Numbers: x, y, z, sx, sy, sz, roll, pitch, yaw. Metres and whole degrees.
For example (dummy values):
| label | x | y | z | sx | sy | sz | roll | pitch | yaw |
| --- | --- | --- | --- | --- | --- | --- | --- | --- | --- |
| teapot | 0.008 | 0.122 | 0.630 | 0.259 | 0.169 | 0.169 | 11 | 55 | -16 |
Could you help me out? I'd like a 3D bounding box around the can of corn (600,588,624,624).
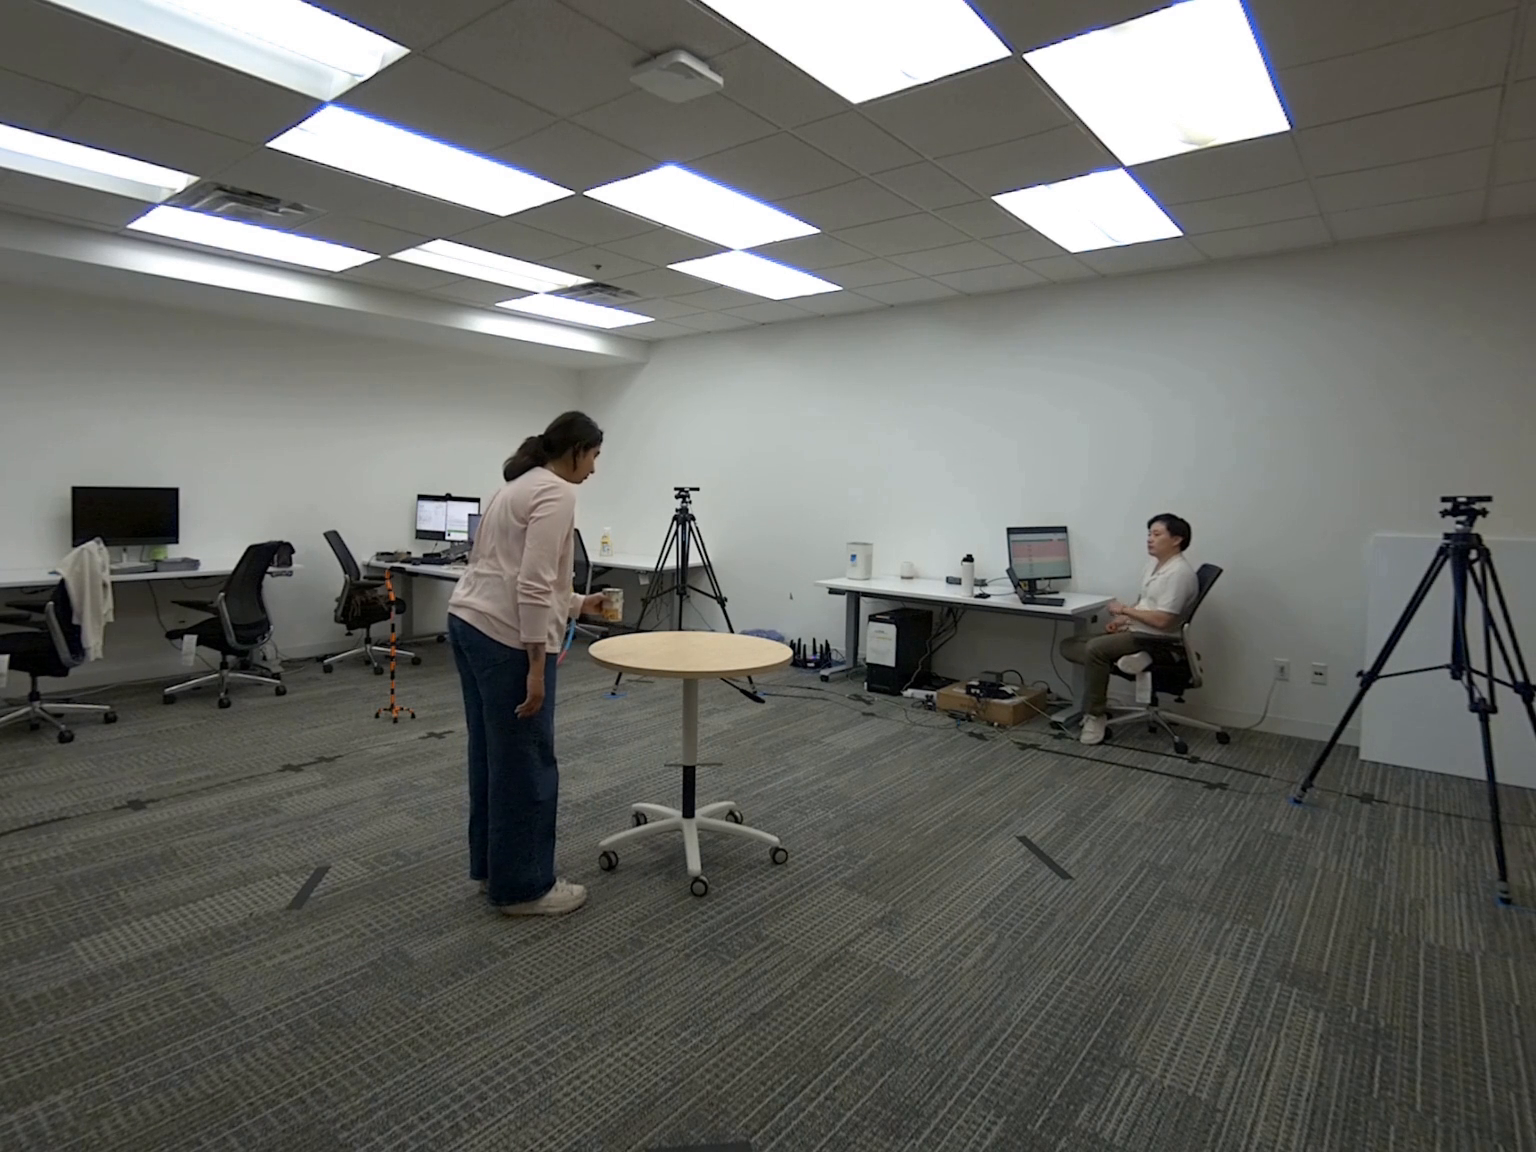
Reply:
| label | x | y | z | sx | sy | sz | roll | pitch | yaw |
| --- | --- | --- | --- | --- | --- | --- | --- | --- | --- |
| can of corn | -0.591 | 0.108 | 3.111 | 0.074 | 0.111 | 0.074 | 1 | 3 | -2 |
